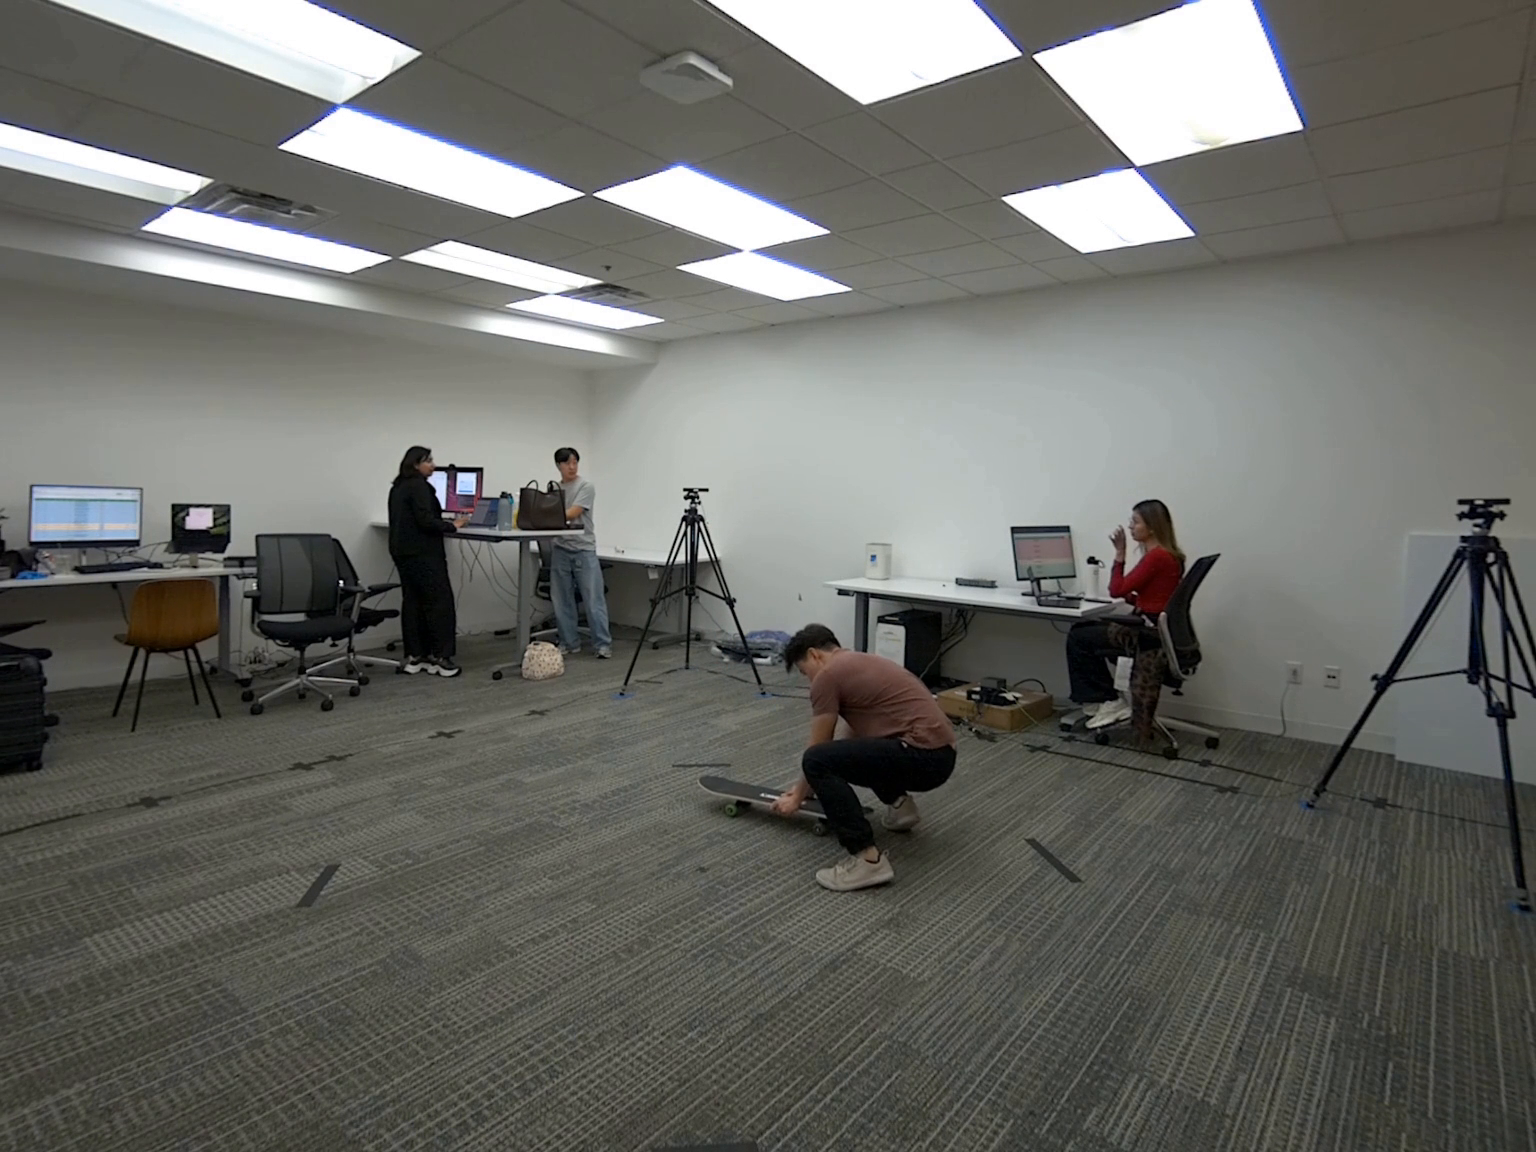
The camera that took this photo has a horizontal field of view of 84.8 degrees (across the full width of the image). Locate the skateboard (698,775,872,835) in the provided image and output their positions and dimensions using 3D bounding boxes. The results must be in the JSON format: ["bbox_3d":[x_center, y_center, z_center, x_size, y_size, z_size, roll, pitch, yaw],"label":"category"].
[{"bbox_3d":[0.045,0.969,3.605,0.807,0.110,0.189,5,4,27],"label":"skateboard"}]
